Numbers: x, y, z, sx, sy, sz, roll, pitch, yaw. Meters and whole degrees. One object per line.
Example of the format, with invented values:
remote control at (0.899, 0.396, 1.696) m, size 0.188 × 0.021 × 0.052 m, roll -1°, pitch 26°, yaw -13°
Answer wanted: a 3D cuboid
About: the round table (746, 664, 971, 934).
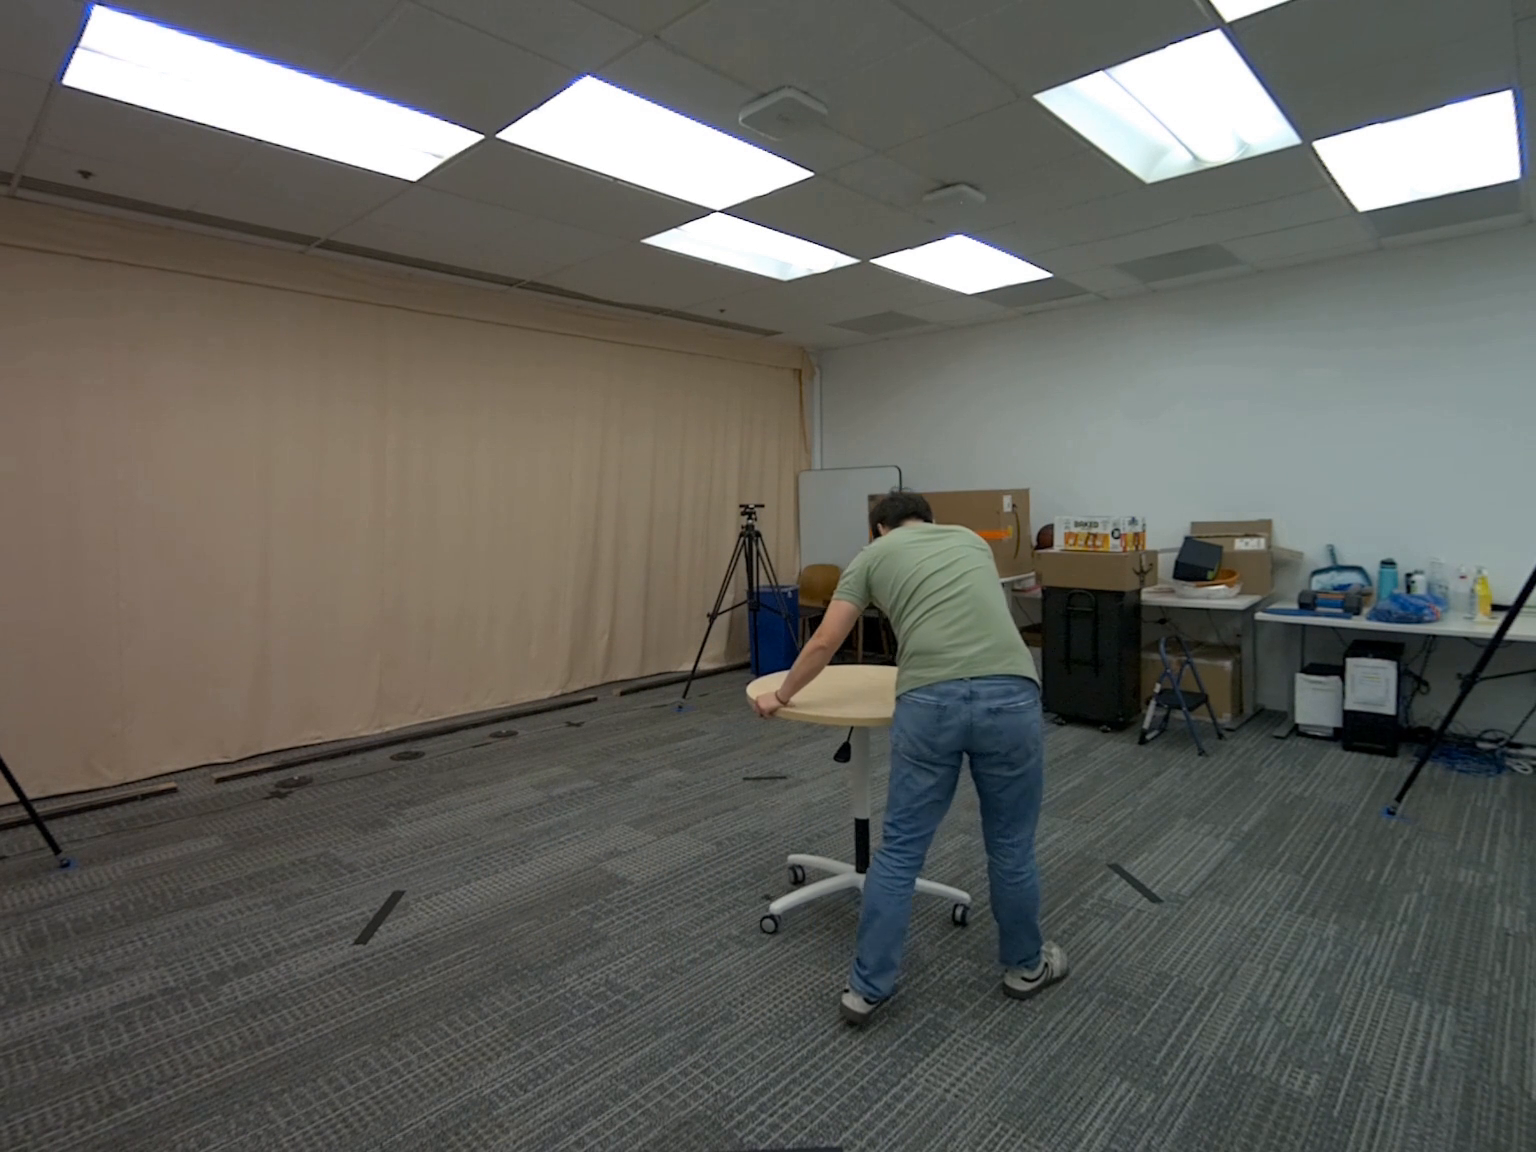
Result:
round table at (0.318, 0.762, 2.846) m, size 0.763 × 0.792 × 0.767 m, roll -1°, pitch 4°, yaw -2°
